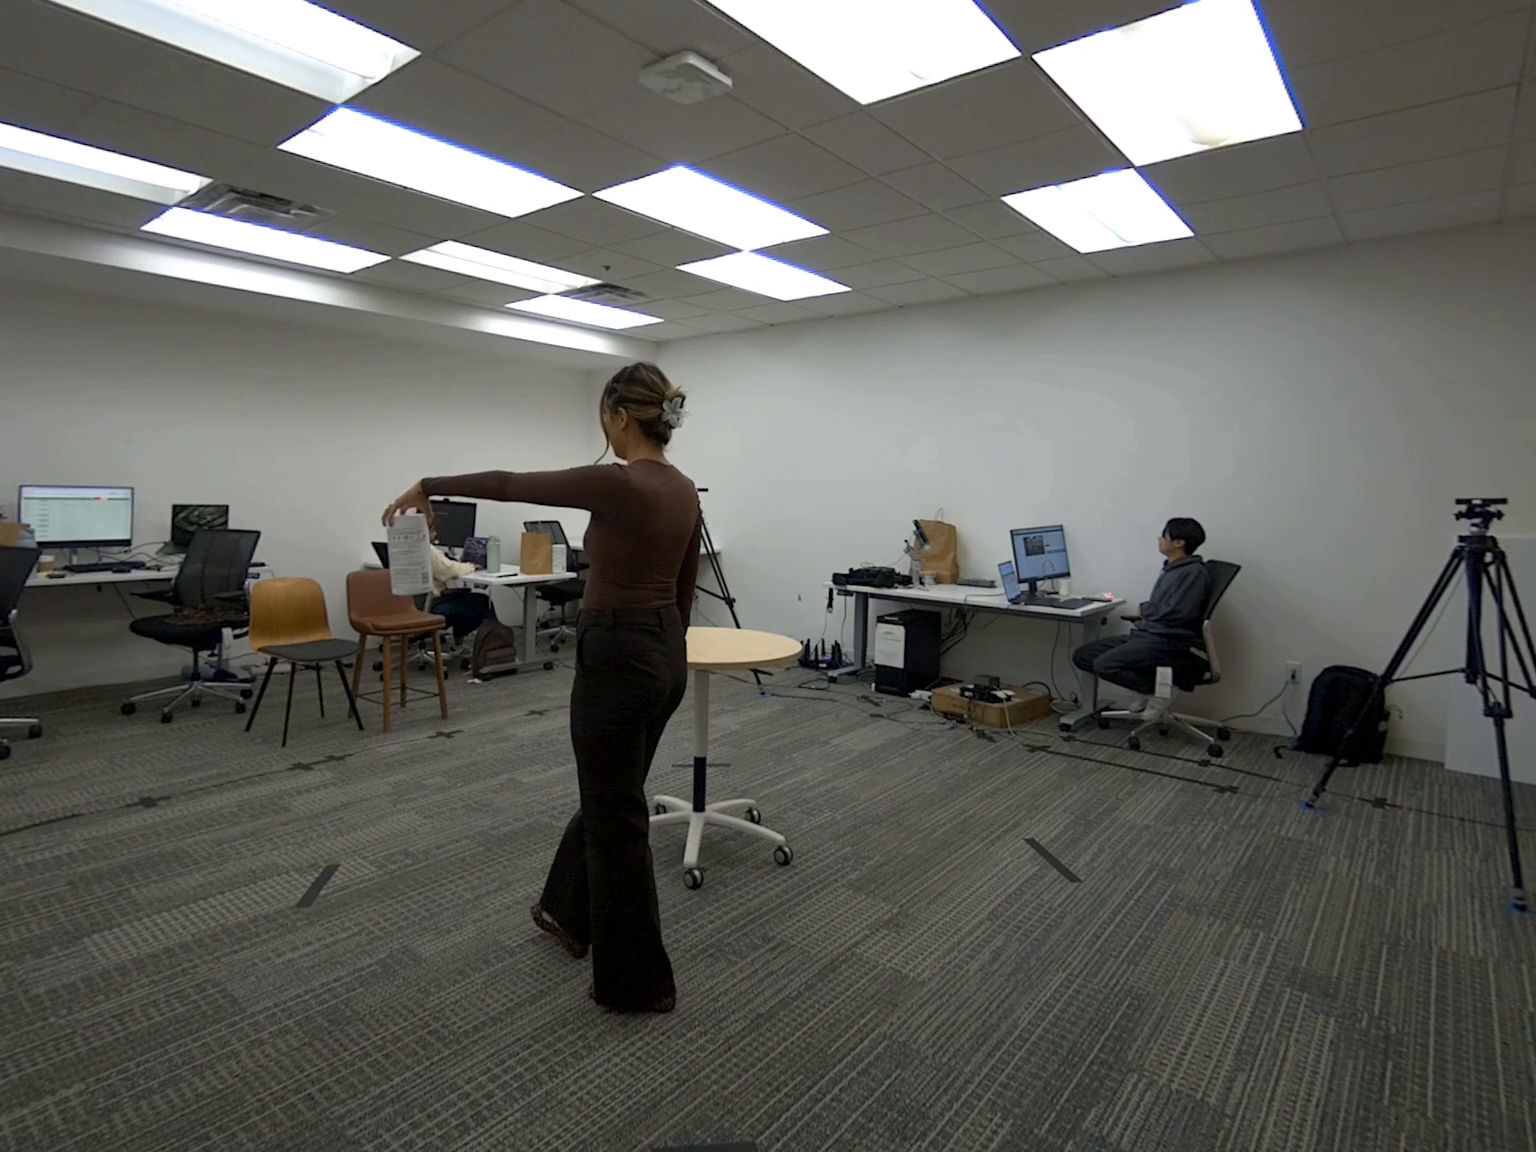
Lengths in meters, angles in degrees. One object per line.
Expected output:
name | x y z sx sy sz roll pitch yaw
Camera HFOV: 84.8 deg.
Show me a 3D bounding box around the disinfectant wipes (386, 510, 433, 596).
disinfectant wipes | -0.997 -0.061 2.335 0.118 0.216 0.118 -3 5 -2
